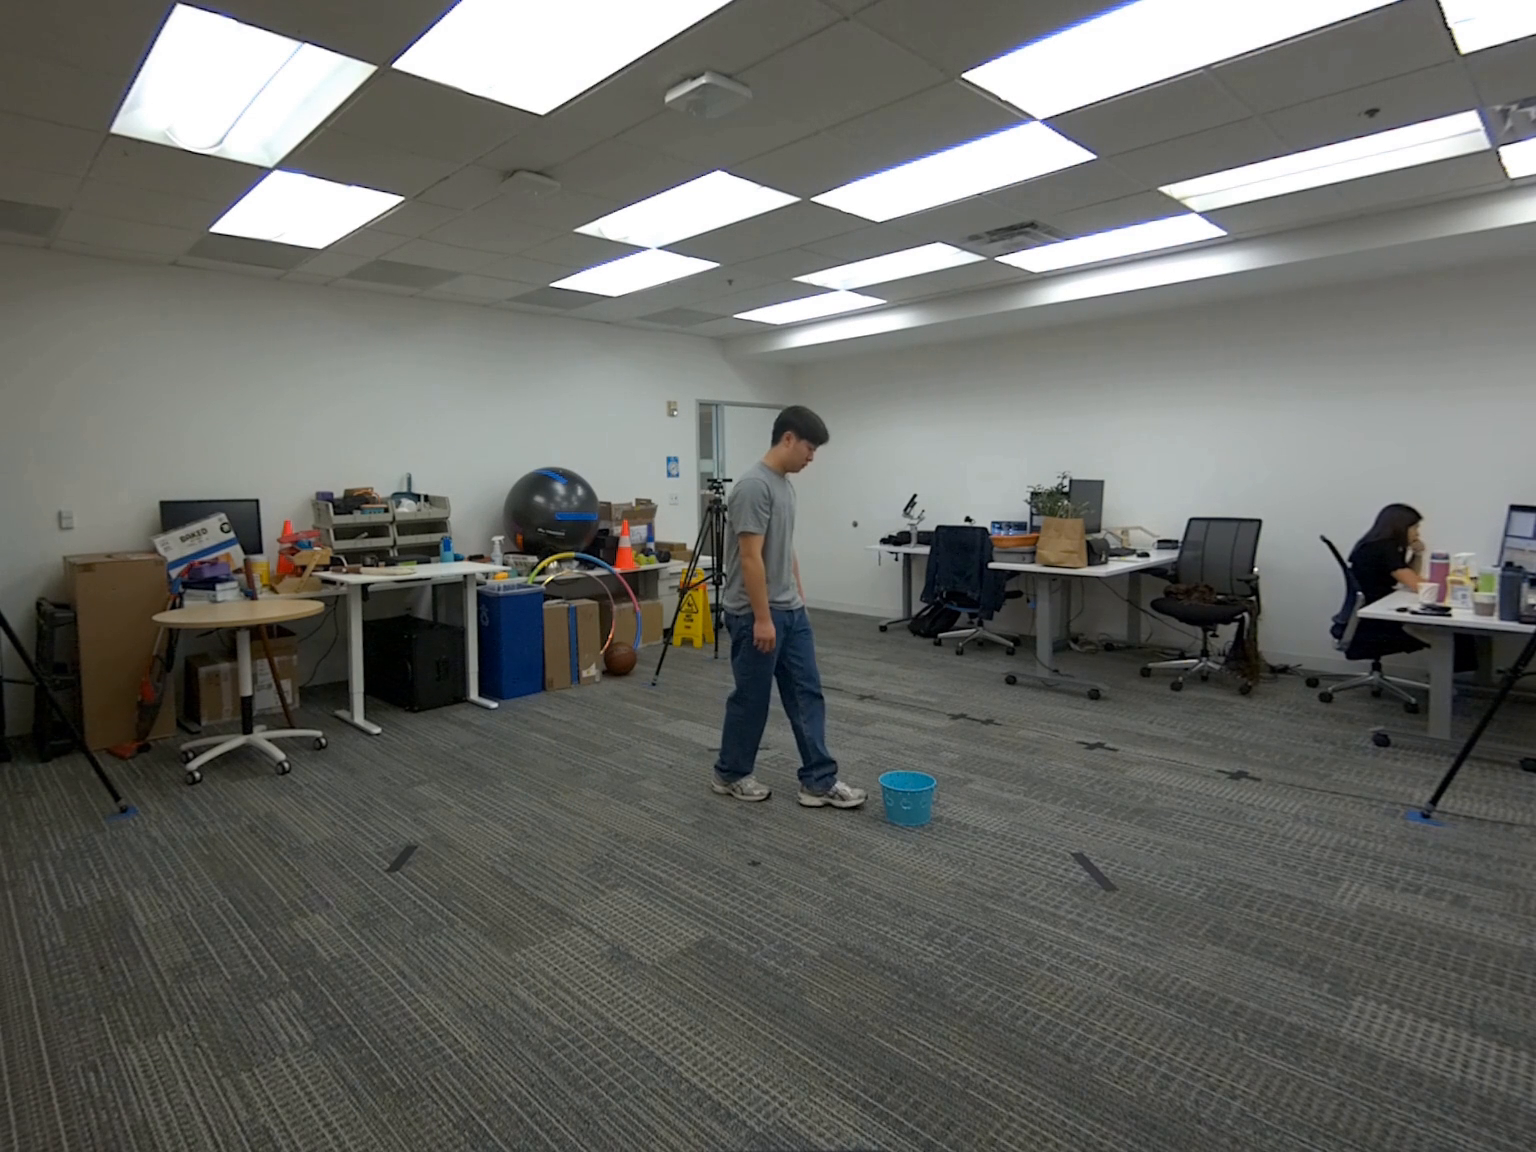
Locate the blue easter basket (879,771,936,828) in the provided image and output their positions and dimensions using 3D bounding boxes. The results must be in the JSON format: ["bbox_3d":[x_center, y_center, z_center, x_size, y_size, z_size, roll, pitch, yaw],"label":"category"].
[{"bbox_3d":[0.578,0.911,3.510,0.243,0.155,0.245,-2,5,-2],"label":"blue easter basket"}]
